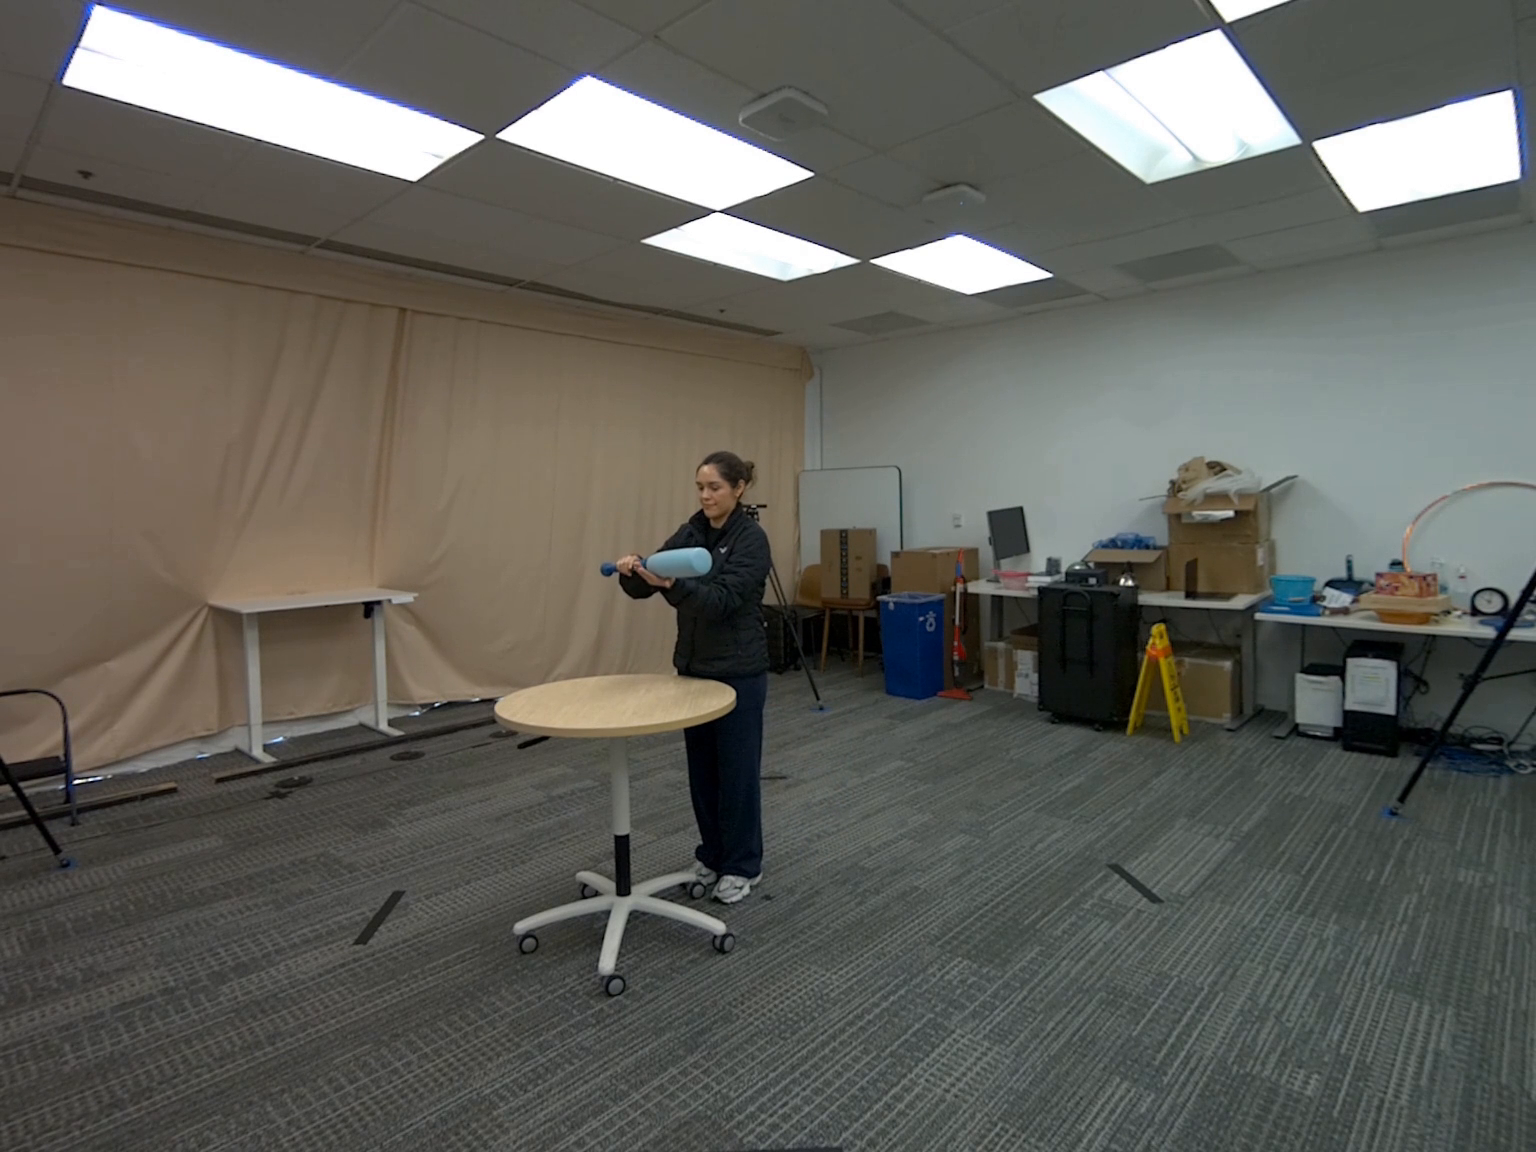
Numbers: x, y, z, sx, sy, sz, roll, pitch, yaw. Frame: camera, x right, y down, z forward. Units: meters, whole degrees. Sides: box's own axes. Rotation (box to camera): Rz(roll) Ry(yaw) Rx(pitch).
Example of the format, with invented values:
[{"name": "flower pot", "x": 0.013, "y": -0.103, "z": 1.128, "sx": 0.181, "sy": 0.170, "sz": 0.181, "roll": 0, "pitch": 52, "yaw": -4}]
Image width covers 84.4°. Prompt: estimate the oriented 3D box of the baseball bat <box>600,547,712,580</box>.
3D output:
[{"name": "baseball bat", "x": -0.383, "y": -0.034, "z": 2.734, "sx": 0.086, "sy": 0.089, "sz": 0.559, "roll": -4, "pitch": 0, "yaw": -41}]
